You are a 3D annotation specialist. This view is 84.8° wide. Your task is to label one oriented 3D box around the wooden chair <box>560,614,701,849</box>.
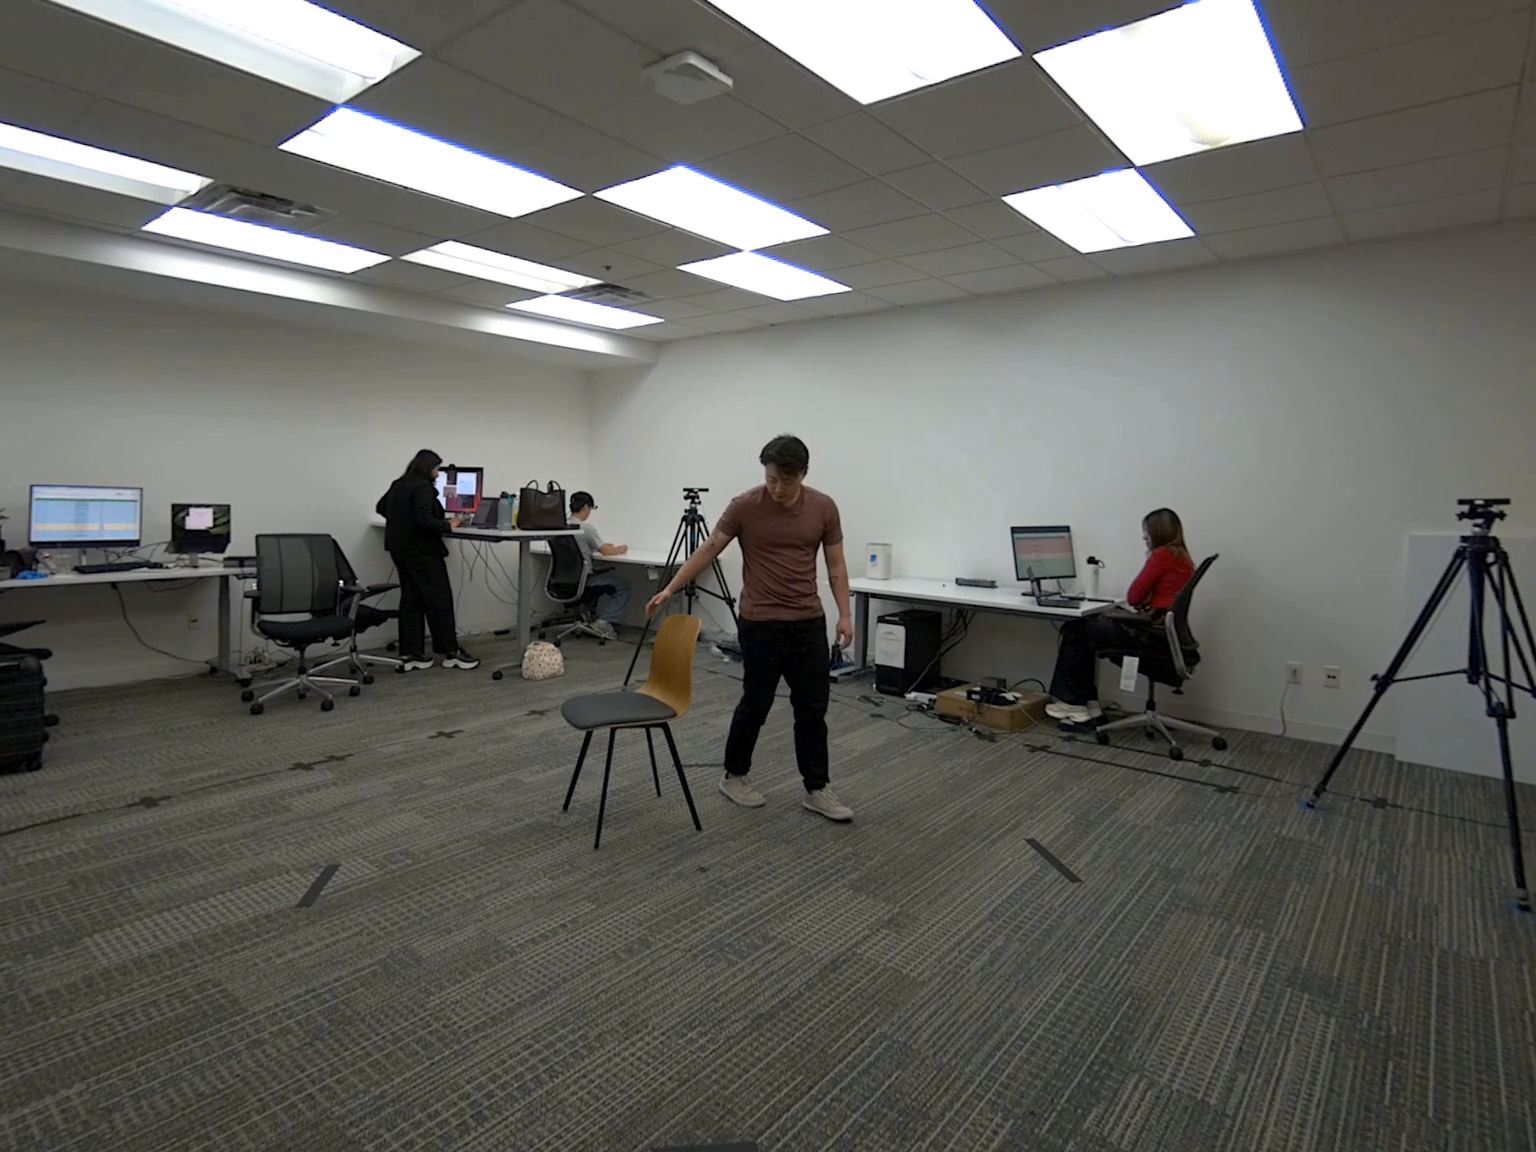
[{"bbox_3d":[-0.587,0.596,3.528,0.509,0.876,0.492,4,2,-28],"label":"wooden chair"}]
